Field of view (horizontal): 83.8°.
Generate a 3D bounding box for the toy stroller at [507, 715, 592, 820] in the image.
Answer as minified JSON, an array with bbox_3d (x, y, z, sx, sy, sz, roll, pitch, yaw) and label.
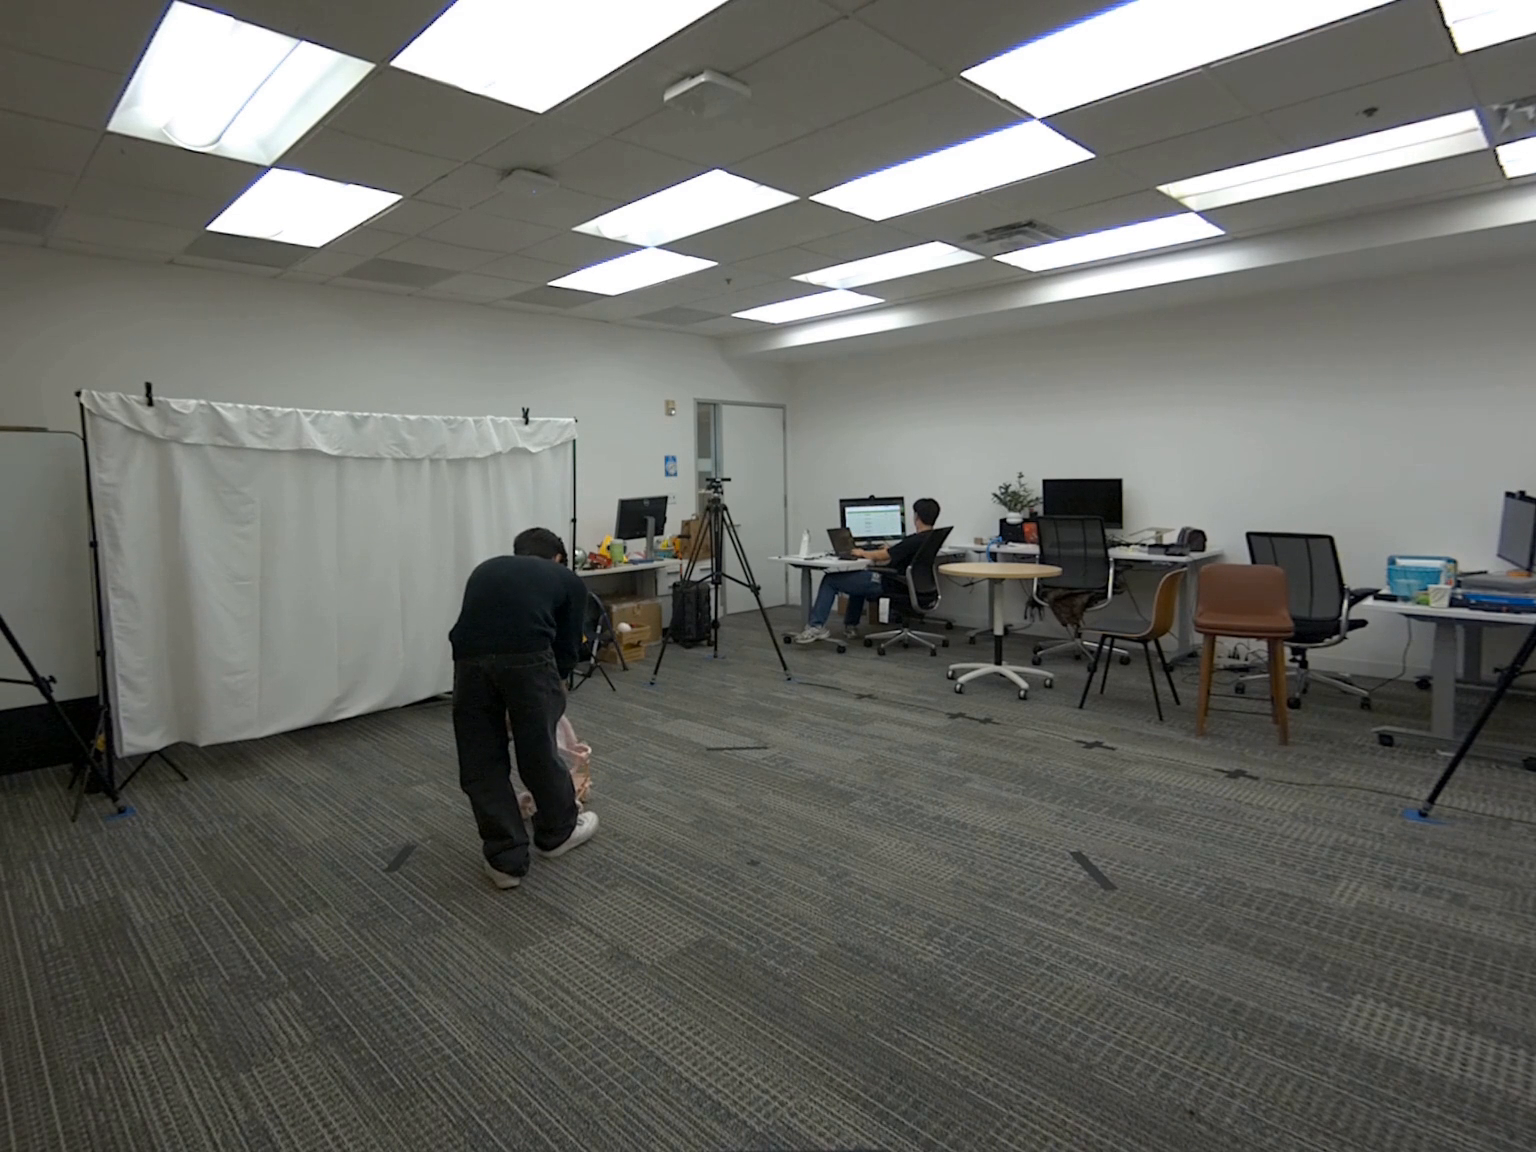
[{"bbox_3d":[-0.875,0.789,3.555,0.288,0.525,0.339,2,22,28],"label":"toy stroller"}]
